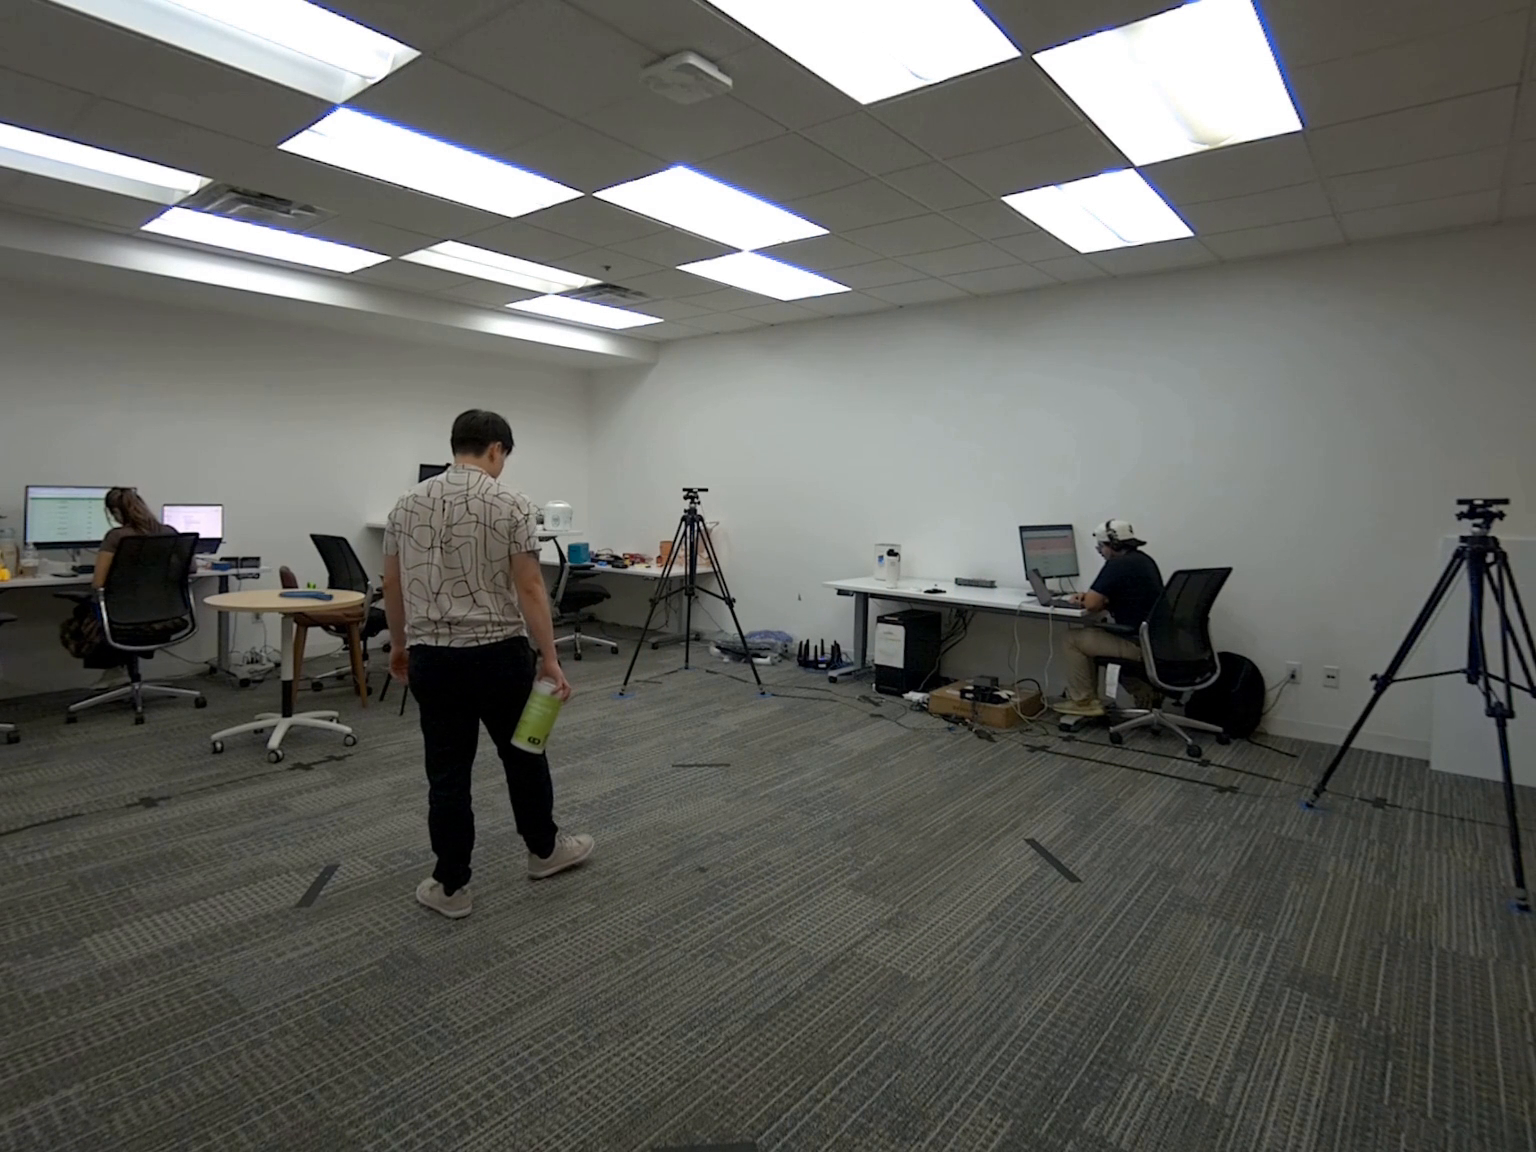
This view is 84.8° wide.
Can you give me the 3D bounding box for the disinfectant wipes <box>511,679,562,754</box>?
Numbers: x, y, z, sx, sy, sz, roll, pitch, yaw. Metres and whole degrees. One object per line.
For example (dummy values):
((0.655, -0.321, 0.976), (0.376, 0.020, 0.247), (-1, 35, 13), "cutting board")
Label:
((-0.760, 0.465, 2.778), (0.118, 0.218, 0.117), (18, -7, 0), "disinfectant wipes")
